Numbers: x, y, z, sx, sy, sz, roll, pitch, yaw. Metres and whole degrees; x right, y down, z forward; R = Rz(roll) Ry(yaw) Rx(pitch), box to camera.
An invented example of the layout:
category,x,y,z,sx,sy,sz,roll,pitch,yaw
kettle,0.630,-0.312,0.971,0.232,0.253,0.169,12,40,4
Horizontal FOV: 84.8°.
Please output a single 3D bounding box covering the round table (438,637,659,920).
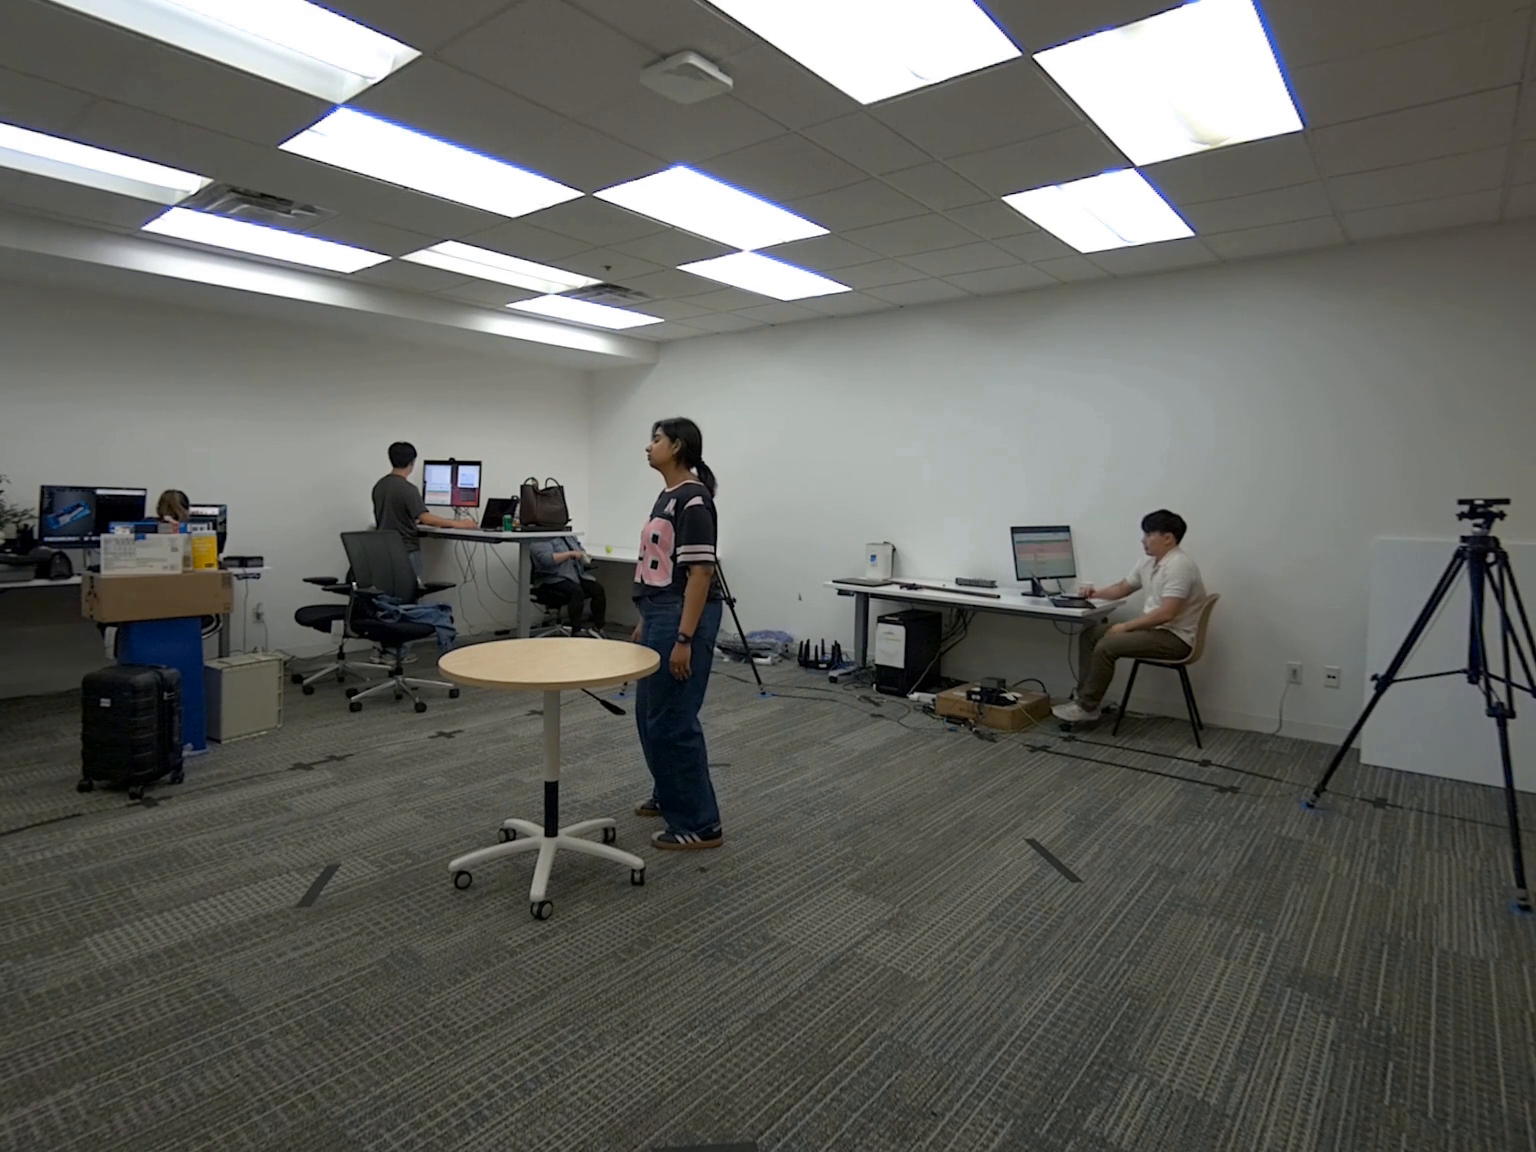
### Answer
category,x,y,z,sx,sy,sz,roll,pitch,yaw
round table,-0.784,0.678,3.033,0.763,0.791,0.768,0,4,-2
